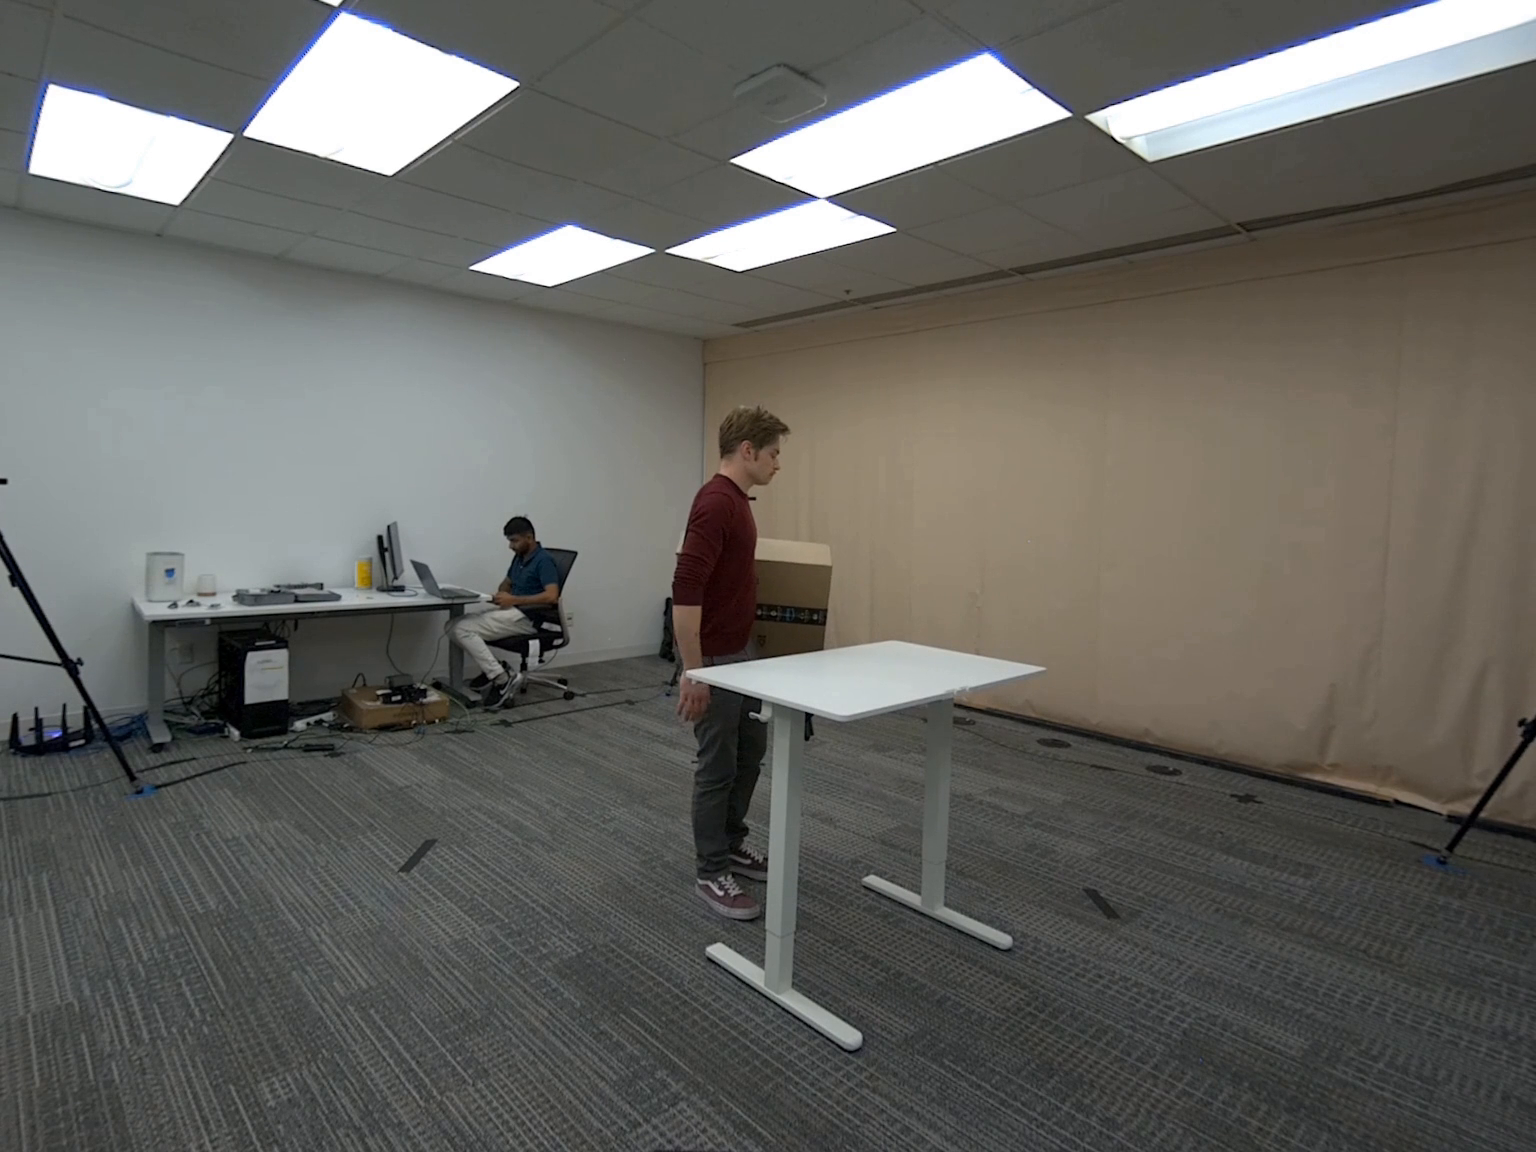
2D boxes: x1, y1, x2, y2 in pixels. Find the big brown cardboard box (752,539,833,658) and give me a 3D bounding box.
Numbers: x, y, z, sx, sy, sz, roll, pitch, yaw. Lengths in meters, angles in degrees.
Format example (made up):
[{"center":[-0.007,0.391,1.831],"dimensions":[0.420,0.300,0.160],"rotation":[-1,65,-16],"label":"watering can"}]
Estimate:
[{"center":[-0.067,0.087,3.185],"dimensions":[0.590,0.412,0.236],"rotation":[5,22,3],"label":"big brown cardboard box"}]
